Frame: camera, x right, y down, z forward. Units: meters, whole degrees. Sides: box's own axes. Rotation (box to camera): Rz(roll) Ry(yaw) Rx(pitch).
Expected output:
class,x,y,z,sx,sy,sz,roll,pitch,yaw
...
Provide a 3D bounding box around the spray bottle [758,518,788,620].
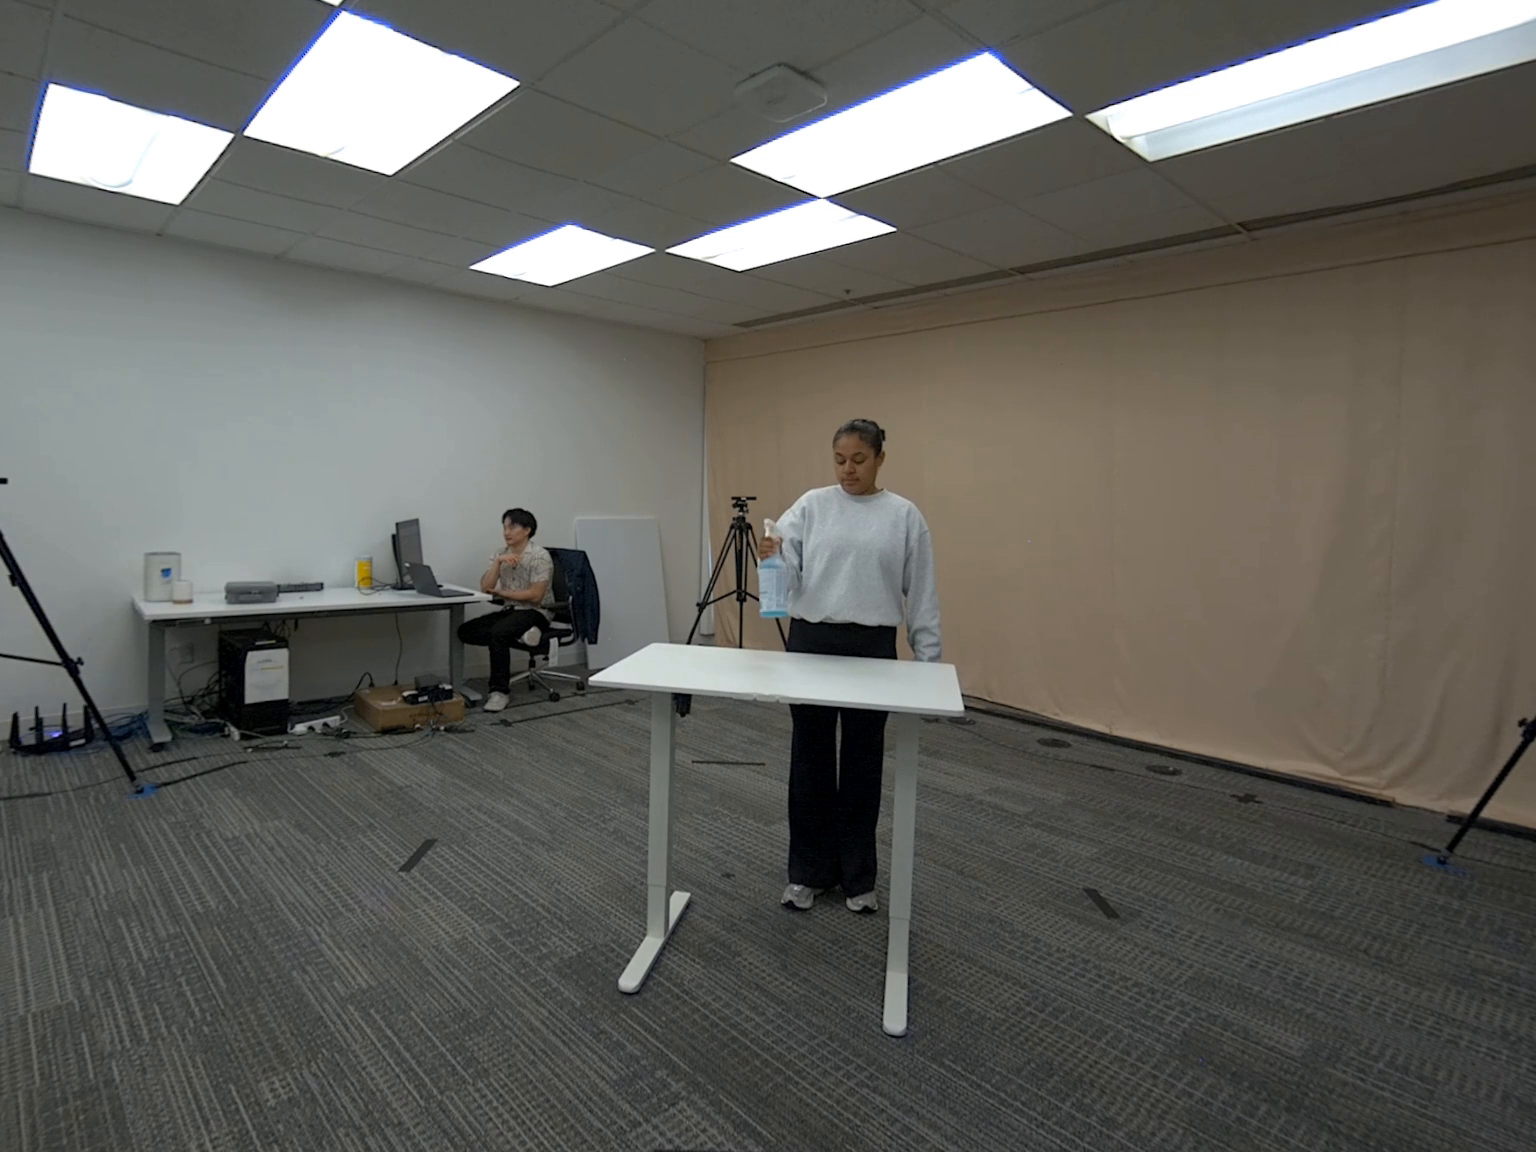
class,x,y,z,sx,sy,sz,roll,pitch,yaw
spray bottle,0.008,-0.024,2.596,0.088,0.299,0.089,7,-11,-41
